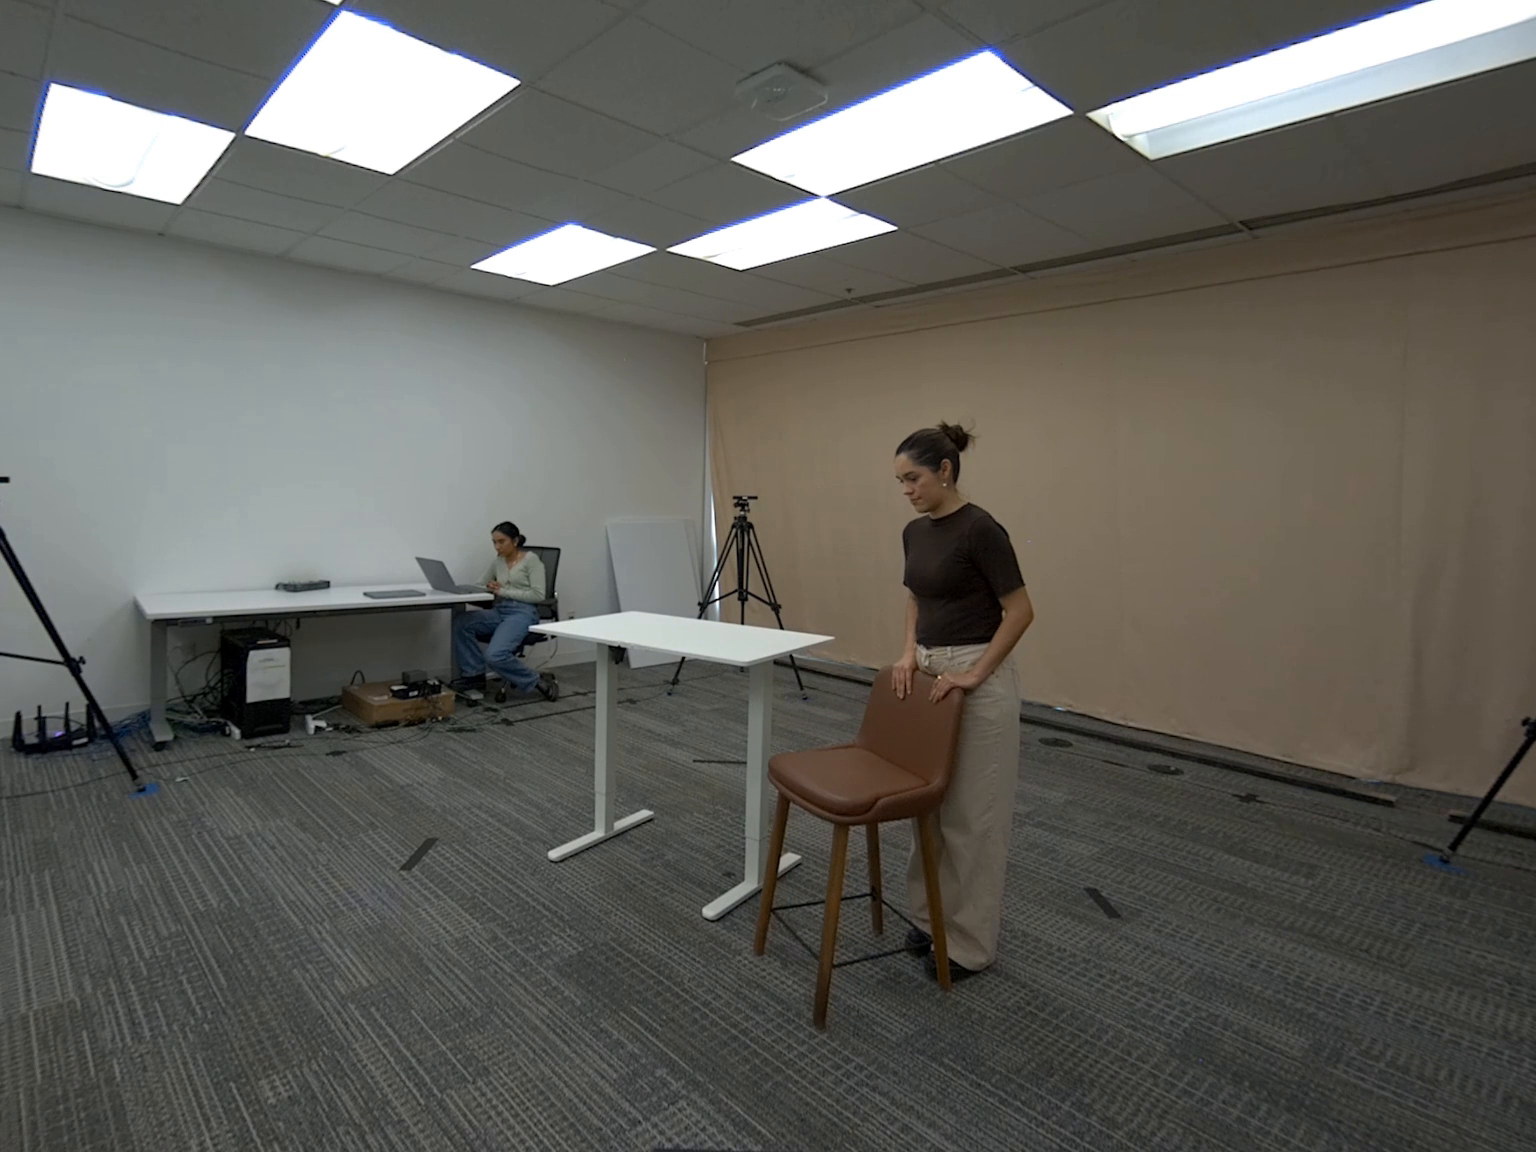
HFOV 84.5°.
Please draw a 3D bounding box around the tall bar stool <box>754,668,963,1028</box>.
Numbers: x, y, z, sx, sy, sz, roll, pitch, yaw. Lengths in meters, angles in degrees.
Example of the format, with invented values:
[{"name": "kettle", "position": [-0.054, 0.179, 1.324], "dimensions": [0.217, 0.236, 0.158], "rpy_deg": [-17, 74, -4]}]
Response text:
[{"name": "tall bar stool", "position": [0.259, 0.731, 2.457], "dimensions": [0.459, 0.888, 0.466], "rpy_deg": [2, 3, -25]}]
